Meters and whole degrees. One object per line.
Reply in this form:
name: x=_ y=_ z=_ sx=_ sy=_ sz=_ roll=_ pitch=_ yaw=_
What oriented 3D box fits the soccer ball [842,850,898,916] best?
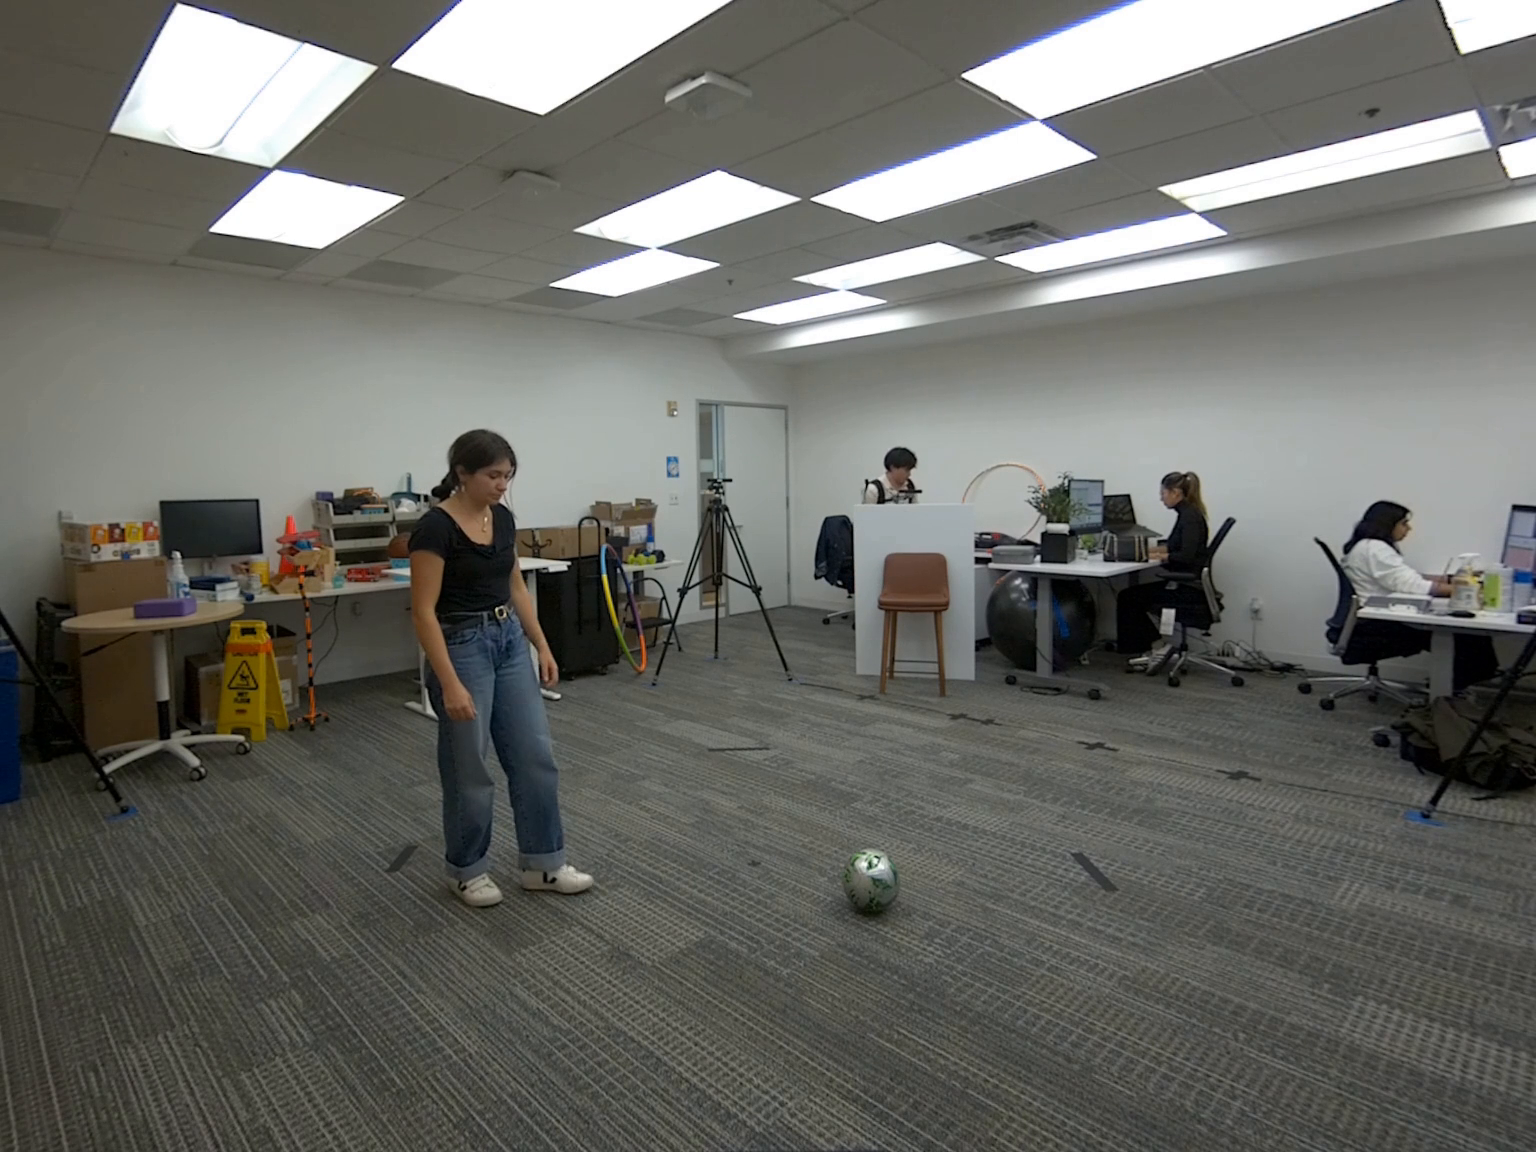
soccer ball: x=0.332 y=0.973 z=2.761 sx=0.187 sy=0.187 sz=0.188 roll=-1 pitch=5 yaw=-2
